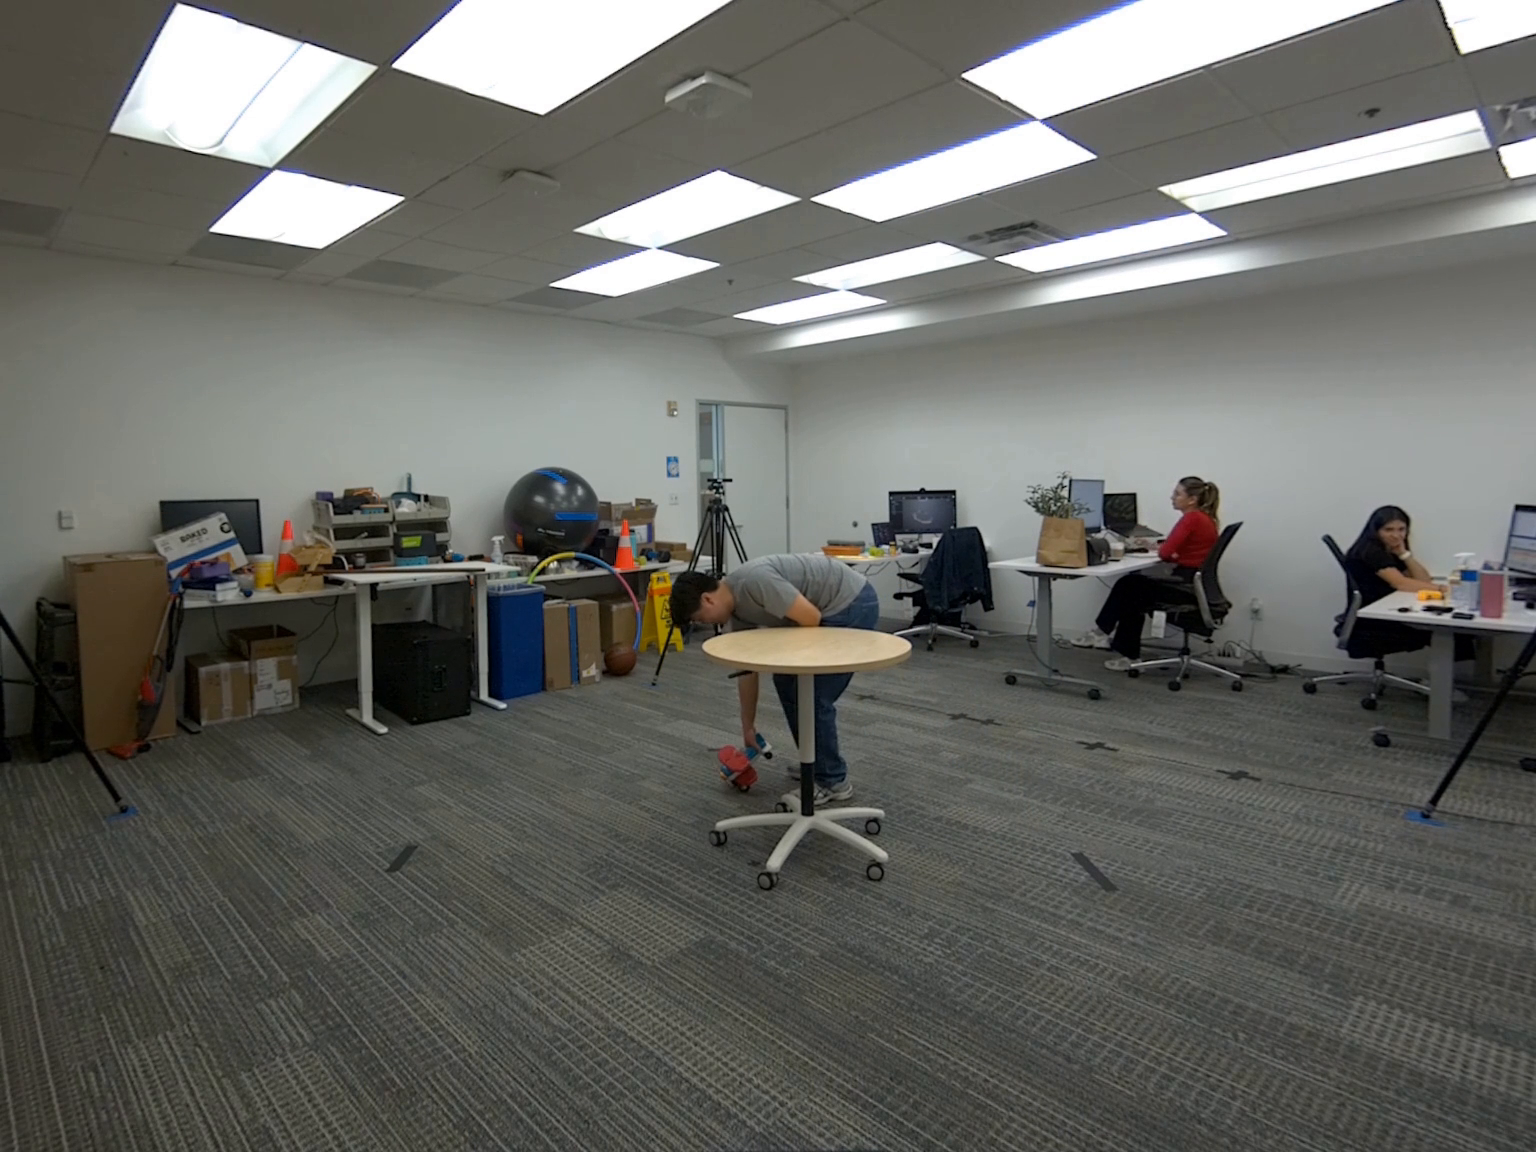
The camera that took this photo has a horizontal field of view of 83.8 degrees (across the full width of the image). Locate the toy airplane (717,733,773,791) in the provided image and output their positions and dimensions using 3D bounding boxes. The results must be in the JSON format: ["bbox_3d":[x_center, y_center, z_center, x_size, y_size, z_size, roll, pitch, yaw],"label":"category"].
[{"bbox_3d":[-0.107,0.845,3.881,0.256,0.152,0.261,-18,32,44],"label":"toy airplane"}]
